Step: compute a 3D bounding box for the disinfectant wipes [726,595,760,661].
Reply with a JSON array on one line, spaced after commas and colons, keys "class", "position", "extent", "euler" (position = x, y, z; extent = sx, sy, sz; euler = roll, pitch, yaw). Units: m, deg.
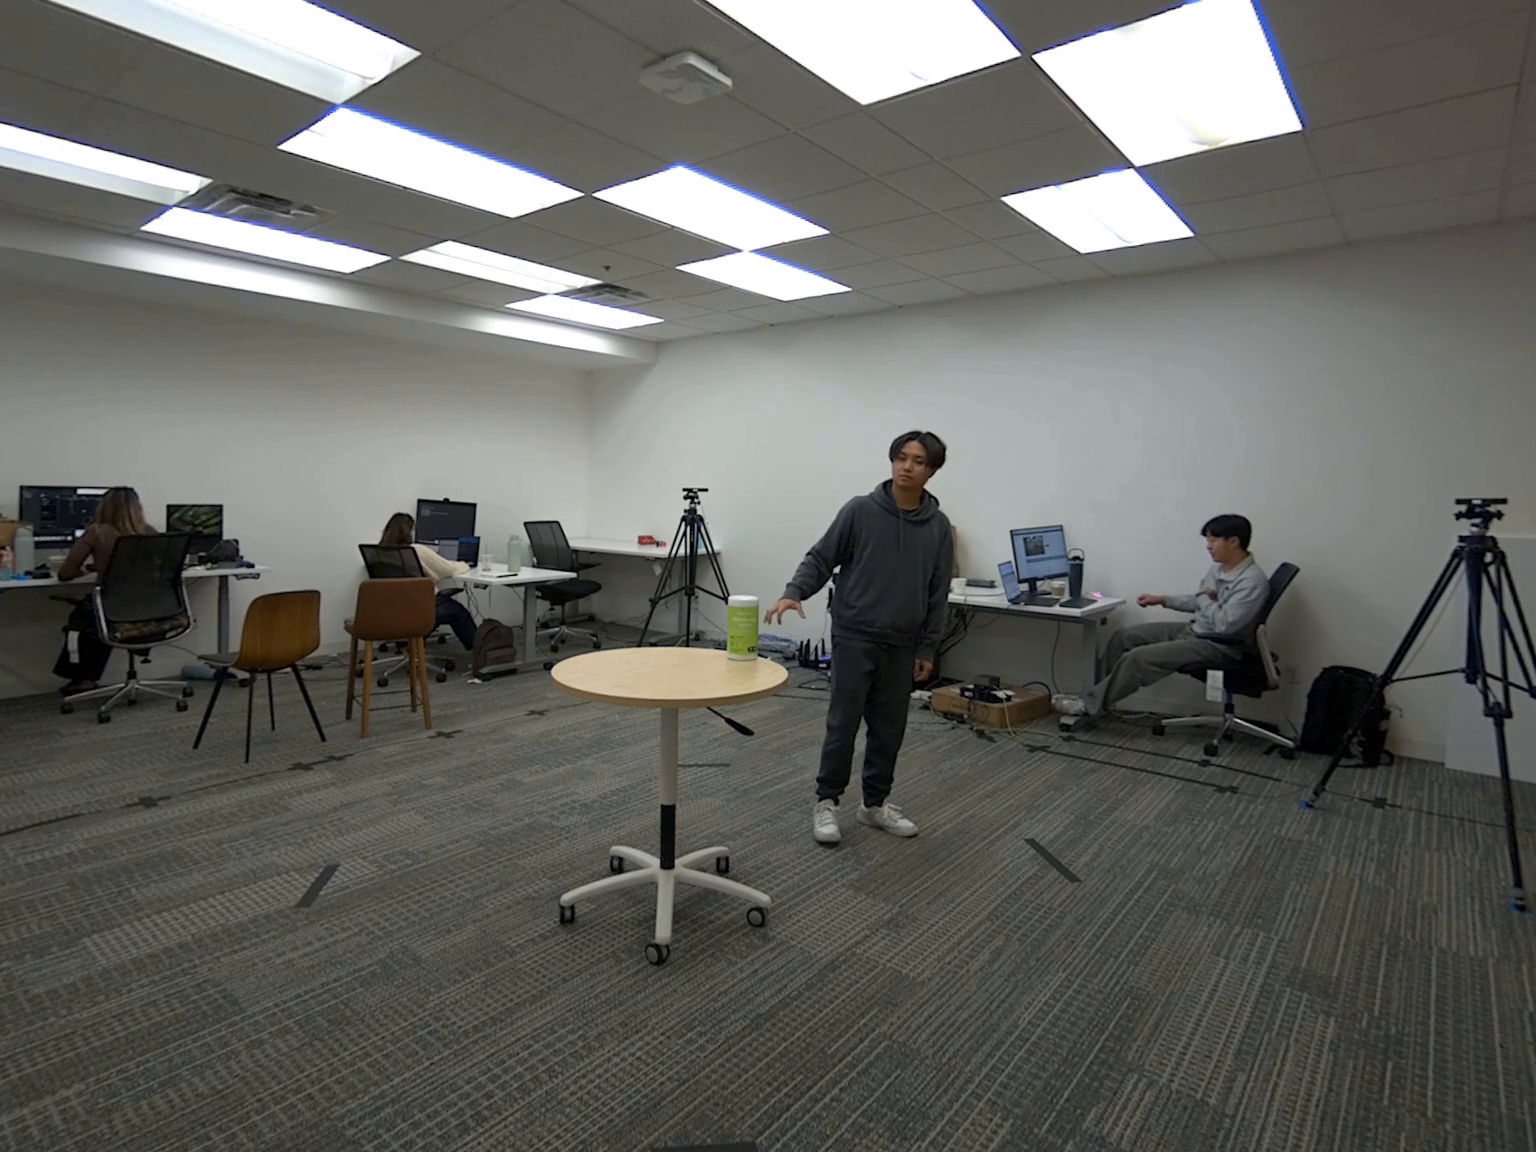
[{"class": "disinfectant wipes", "position": [-0.098, 0.181, 2.979], "extent": [0.118, 0.217, 0.118], "euler": [2, 2, -2]}]
